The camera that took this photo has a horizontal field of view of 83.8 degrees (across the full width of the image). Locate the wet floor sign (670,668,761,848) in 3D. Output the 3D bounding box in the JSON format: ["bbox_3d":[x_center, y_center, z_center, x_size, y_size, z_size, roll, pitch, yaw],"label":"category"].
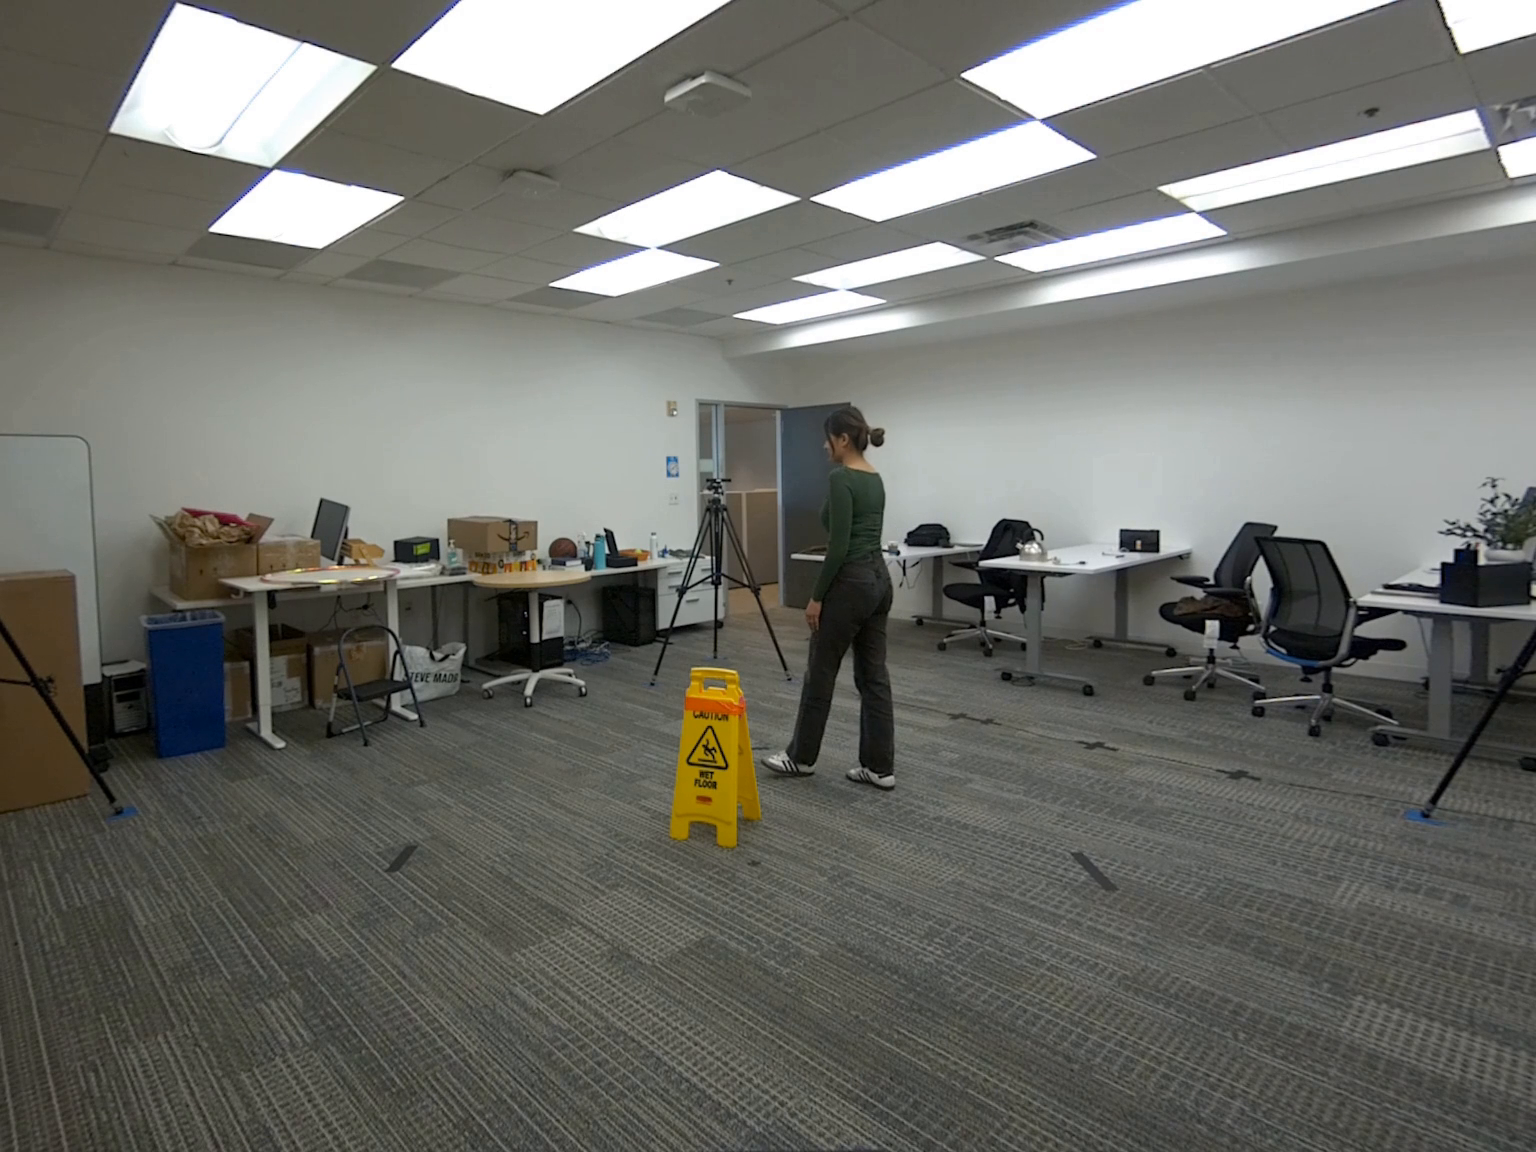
[{"bbox_3d":[-0.211,0.689,3.399,0.288,0.644,0.285,0,4,21],"label":"wet floor sign"}]
